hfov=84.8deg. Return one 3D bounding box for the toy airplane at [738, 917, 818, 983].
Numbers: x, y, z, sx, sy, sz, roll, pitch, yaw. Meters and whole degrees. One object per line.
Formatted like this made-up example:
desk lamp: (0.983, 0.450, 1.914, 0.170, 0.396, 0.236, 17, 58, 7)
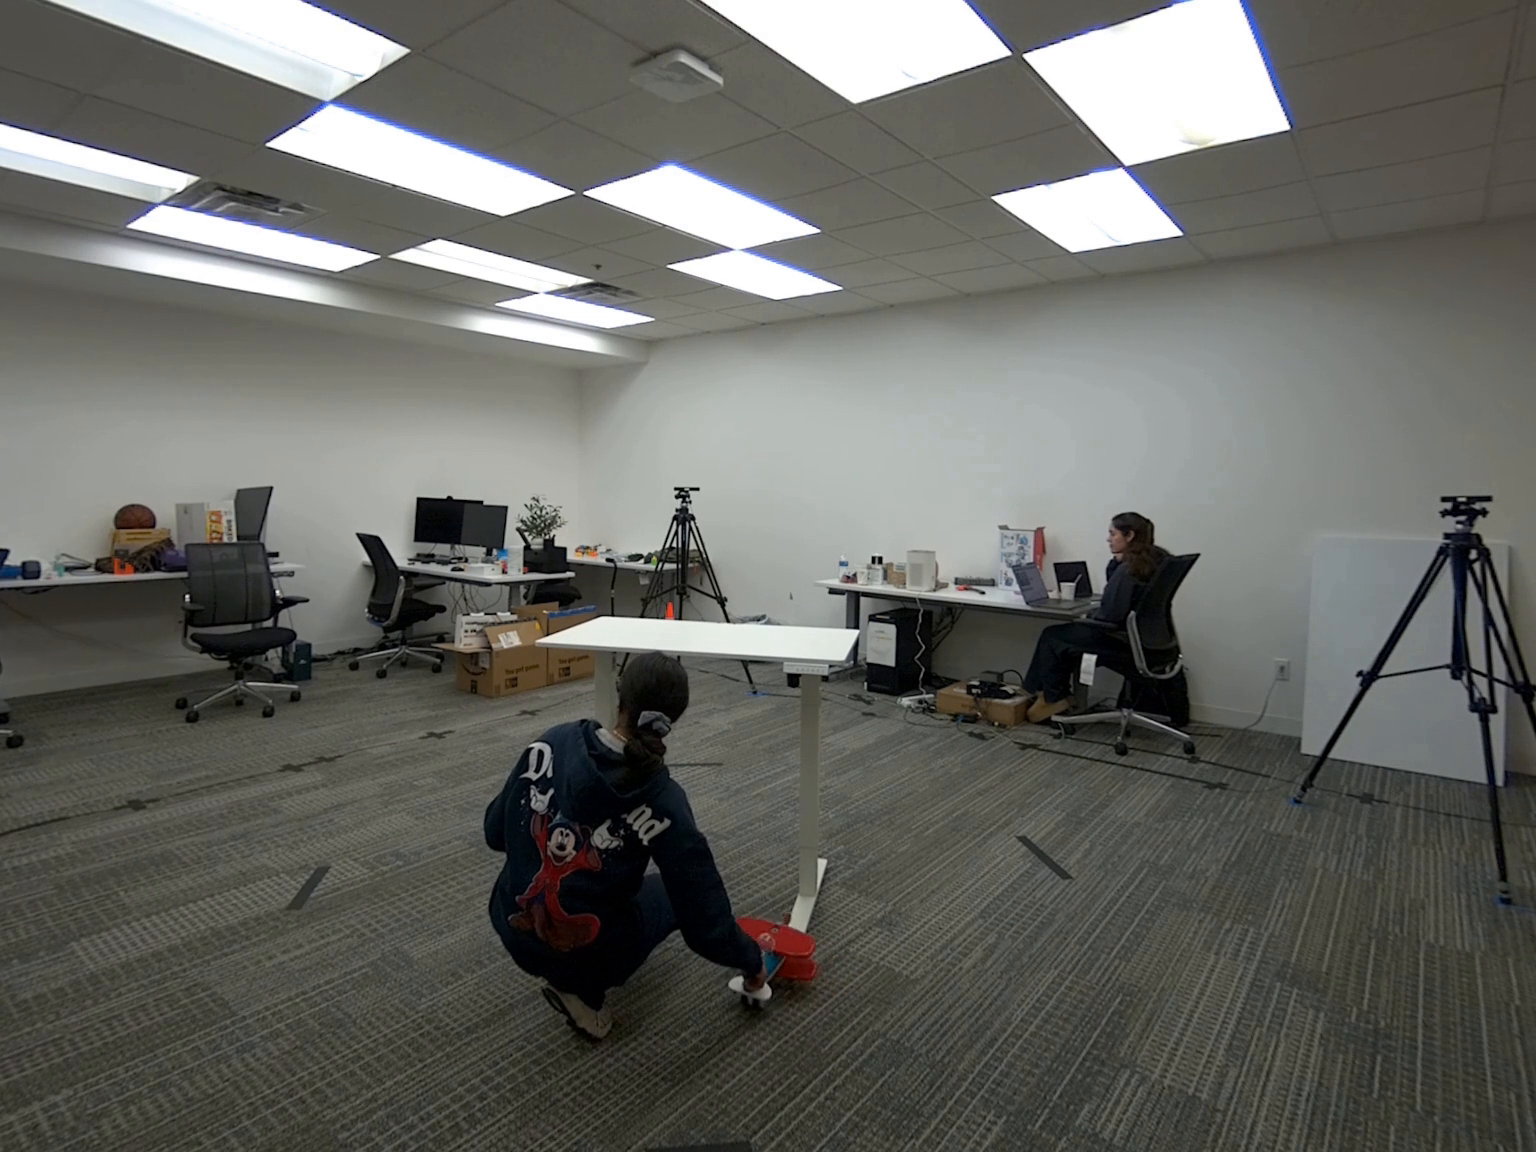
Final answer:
toy airplane: (0.020, 1.074, 2.342, 0.251, 0.156, 0.260, 2, 2, -2)
